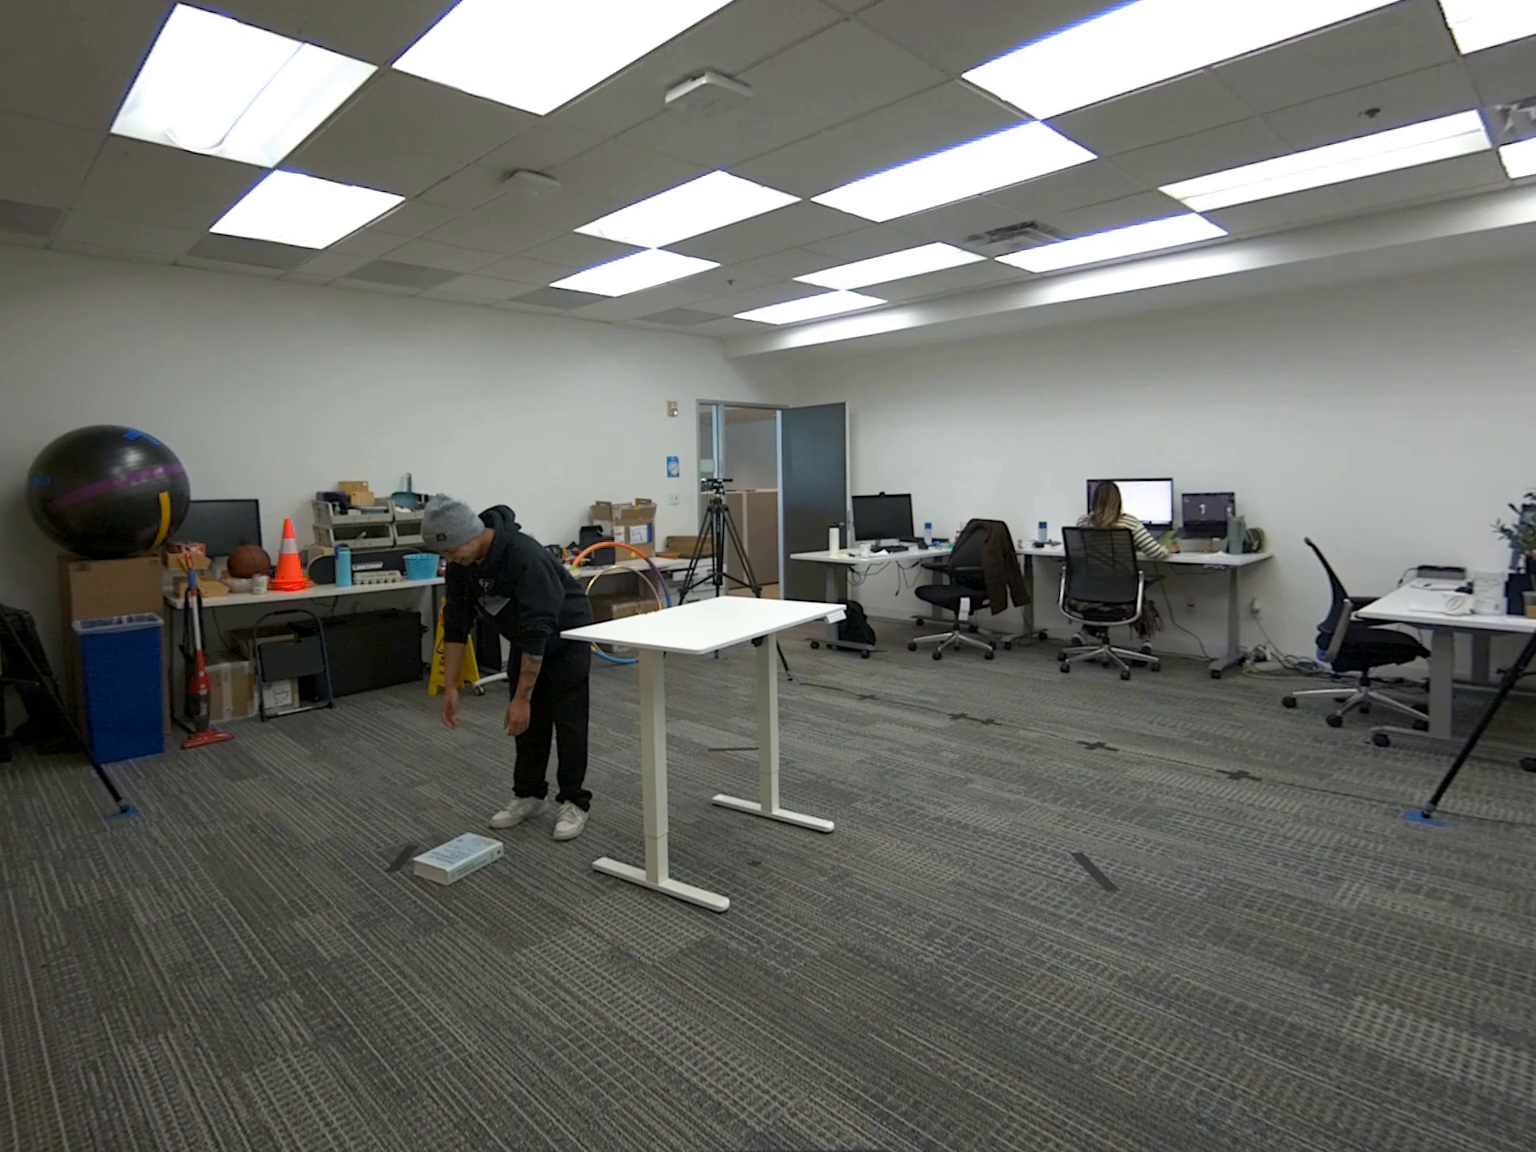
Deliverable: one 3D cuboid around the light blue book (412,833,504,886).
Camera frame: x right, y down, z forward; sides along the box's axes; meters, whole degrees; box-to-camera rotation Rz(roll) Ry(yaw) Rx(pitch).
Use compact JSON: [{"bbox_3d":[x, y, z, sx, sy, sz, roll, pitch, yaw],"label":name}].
[{"bbox_3d":[-1.138,1.039,3.138,0.196,0.059,0.255,2,7,30],"label":"light blue book"}]
